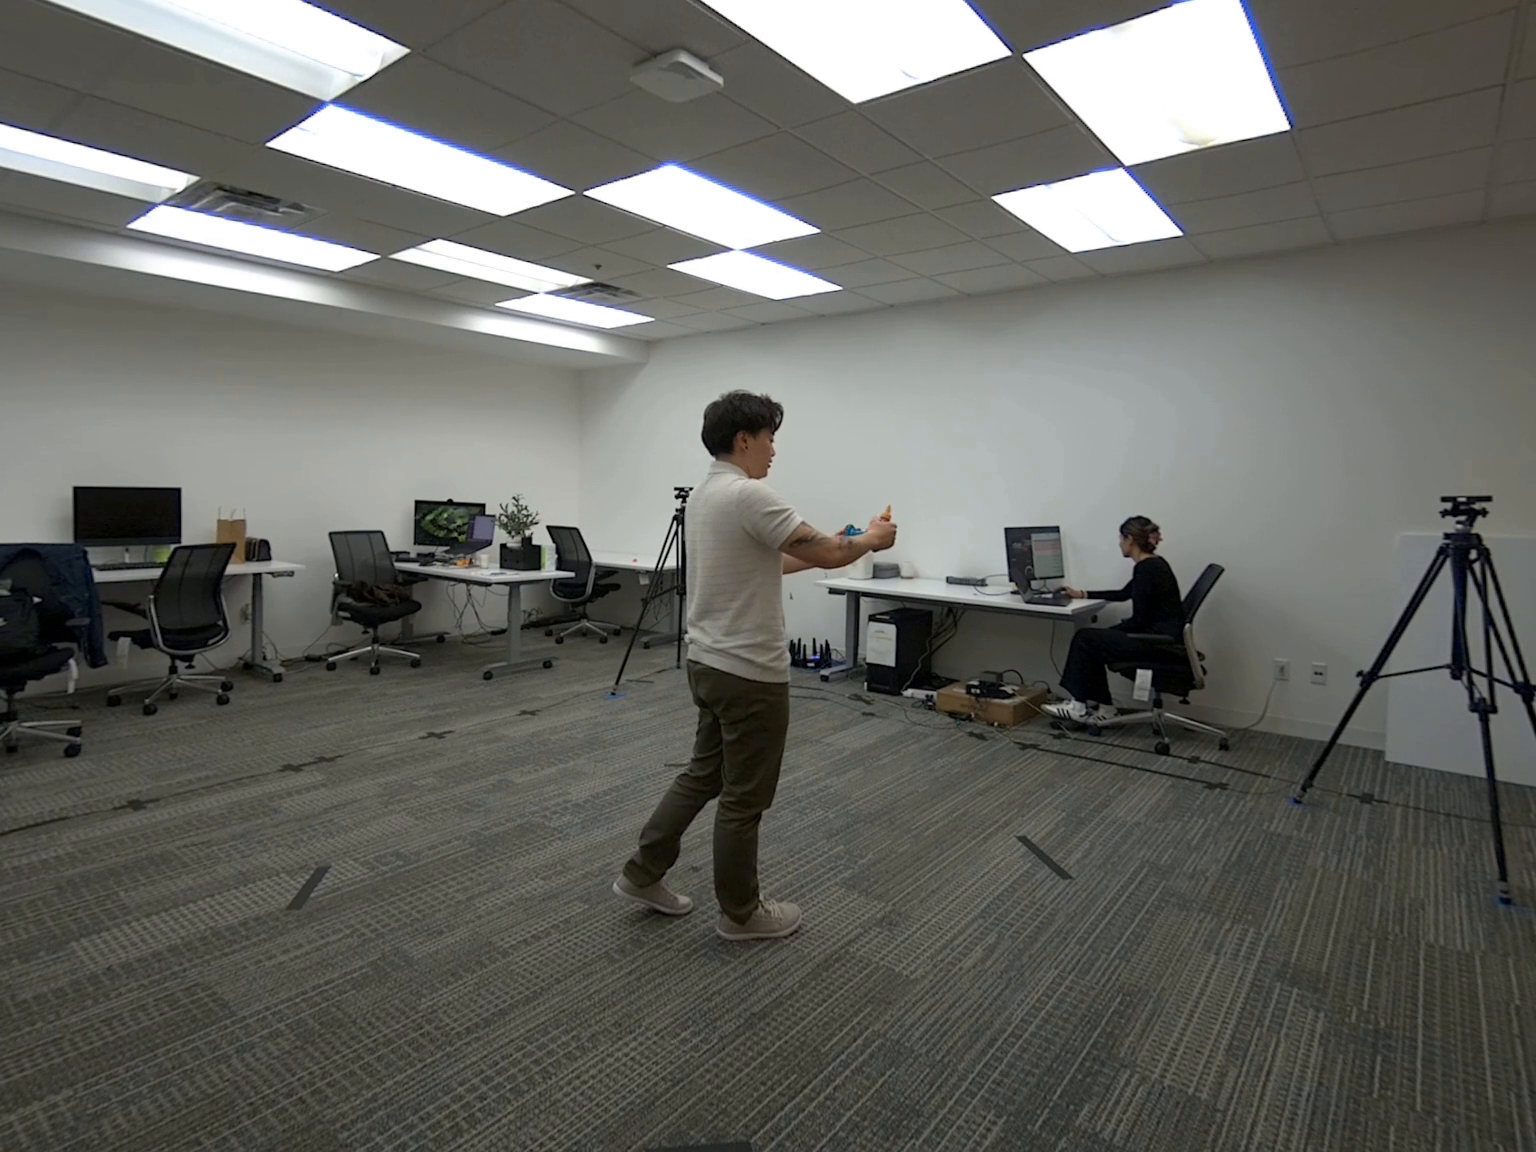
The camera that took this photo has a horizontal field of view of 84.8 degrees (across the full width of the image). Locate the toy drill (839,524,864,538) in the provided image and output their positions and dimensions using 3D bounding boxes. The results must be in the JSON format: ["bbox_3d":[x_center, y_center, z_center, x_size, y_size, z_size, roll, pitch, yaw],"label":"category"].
[{"bbox_3d":[0.312,-0.153,2.705,0.151,0.171,0.058,6,-23,33],"label":"toy drill"}]
